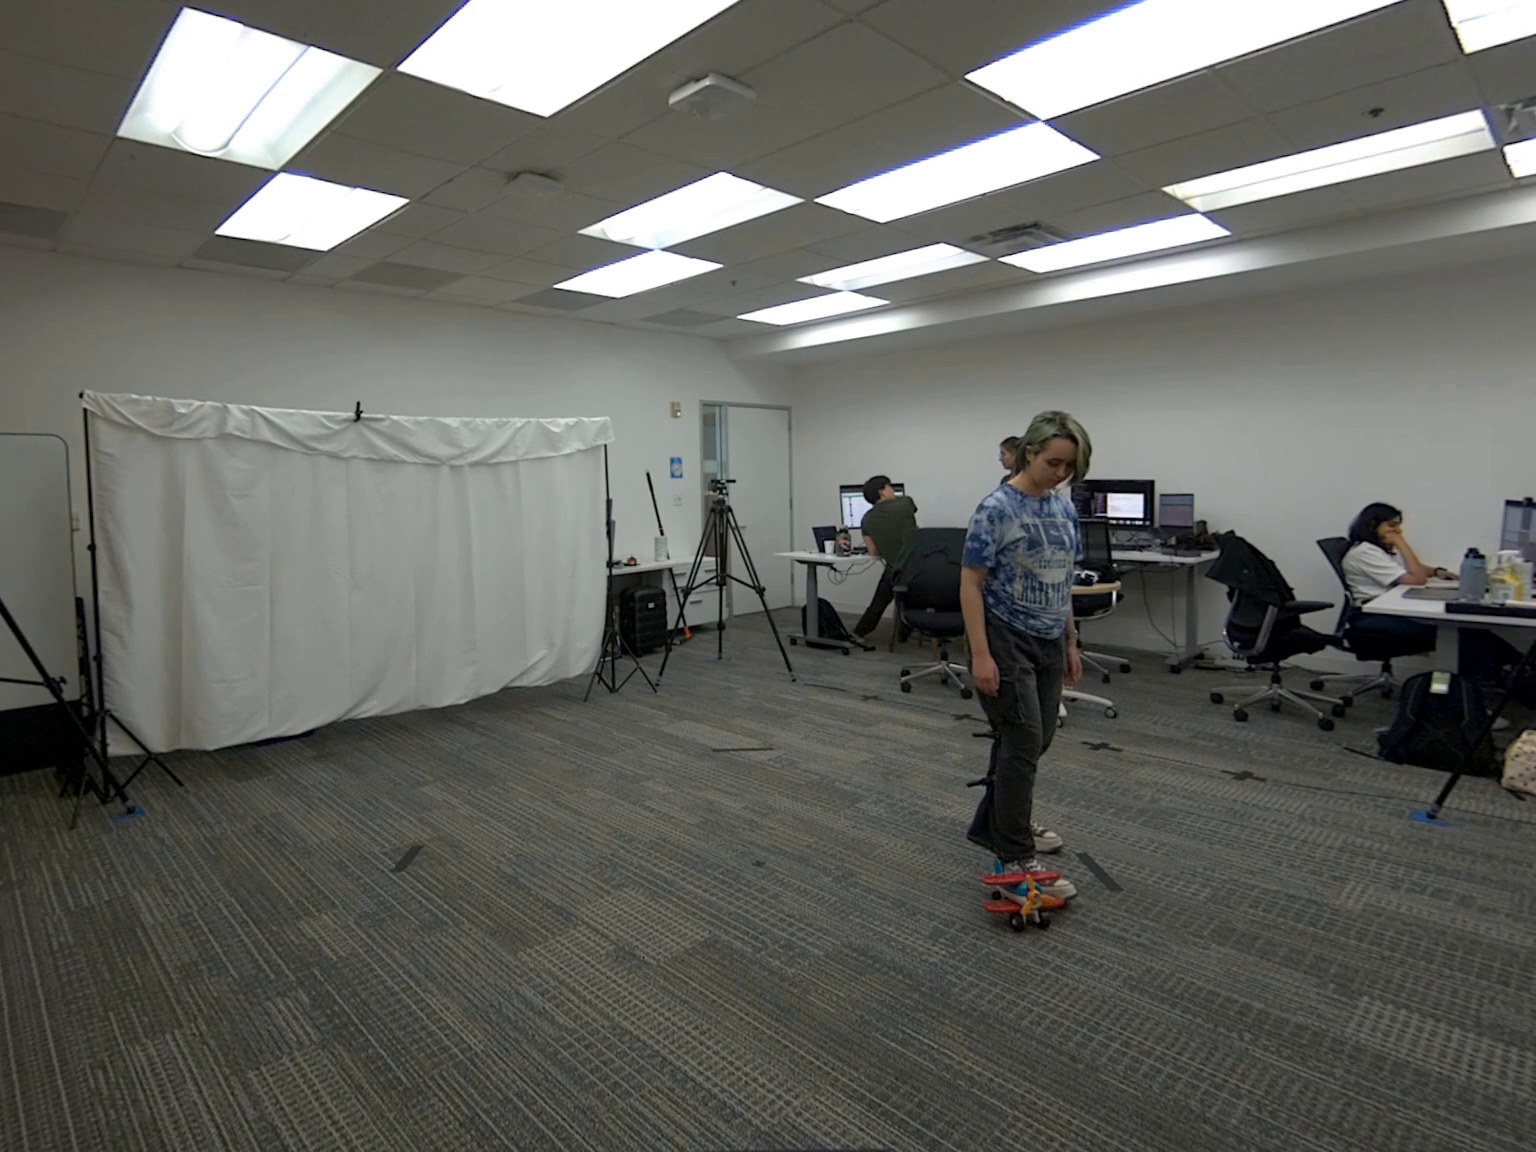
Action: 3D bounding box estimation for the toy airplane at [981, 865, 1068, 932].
[{"bbox_3d":[0.770,1.009,2.703,0.244,0.155,0.267,-5,8,-38],"label":"toy airplane"}]
